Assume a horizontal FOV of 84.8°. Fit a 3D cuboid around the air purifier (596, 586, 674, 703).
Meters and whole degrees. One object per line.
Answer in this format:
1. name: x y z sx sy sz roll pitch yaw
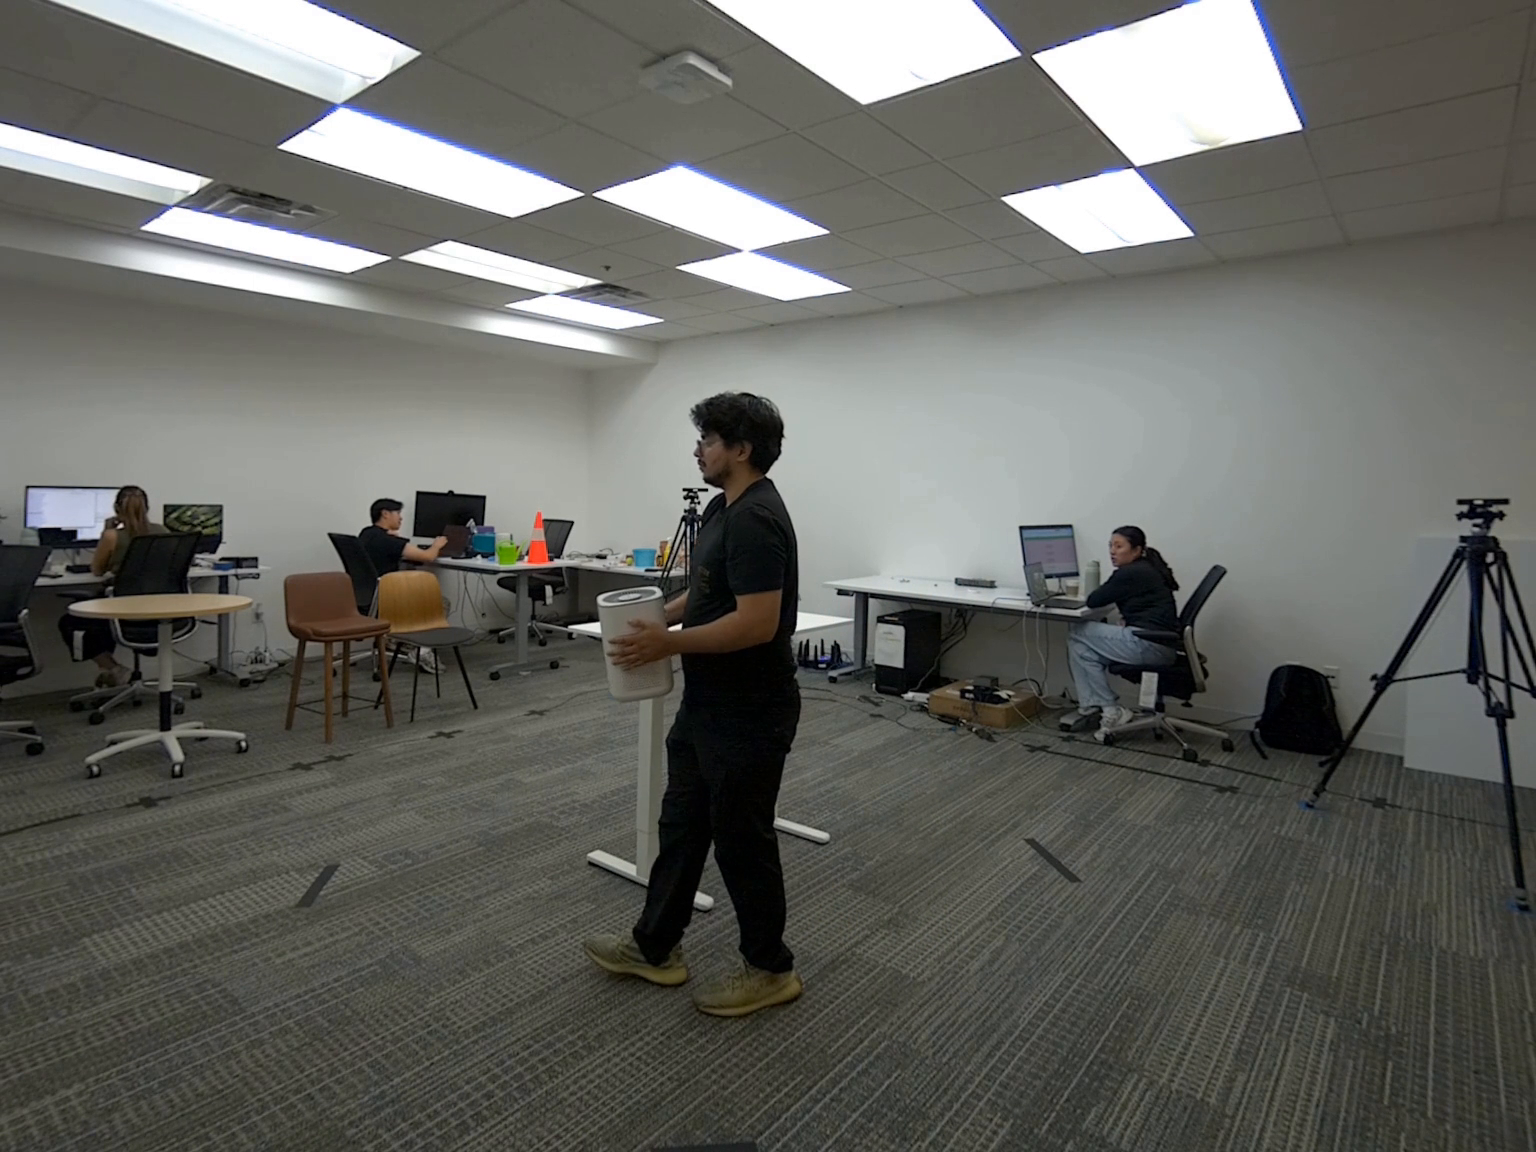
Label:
1. air purifier: -0.358 0.176 2.246 0.170 0.263 0.174 -8 8 -12
